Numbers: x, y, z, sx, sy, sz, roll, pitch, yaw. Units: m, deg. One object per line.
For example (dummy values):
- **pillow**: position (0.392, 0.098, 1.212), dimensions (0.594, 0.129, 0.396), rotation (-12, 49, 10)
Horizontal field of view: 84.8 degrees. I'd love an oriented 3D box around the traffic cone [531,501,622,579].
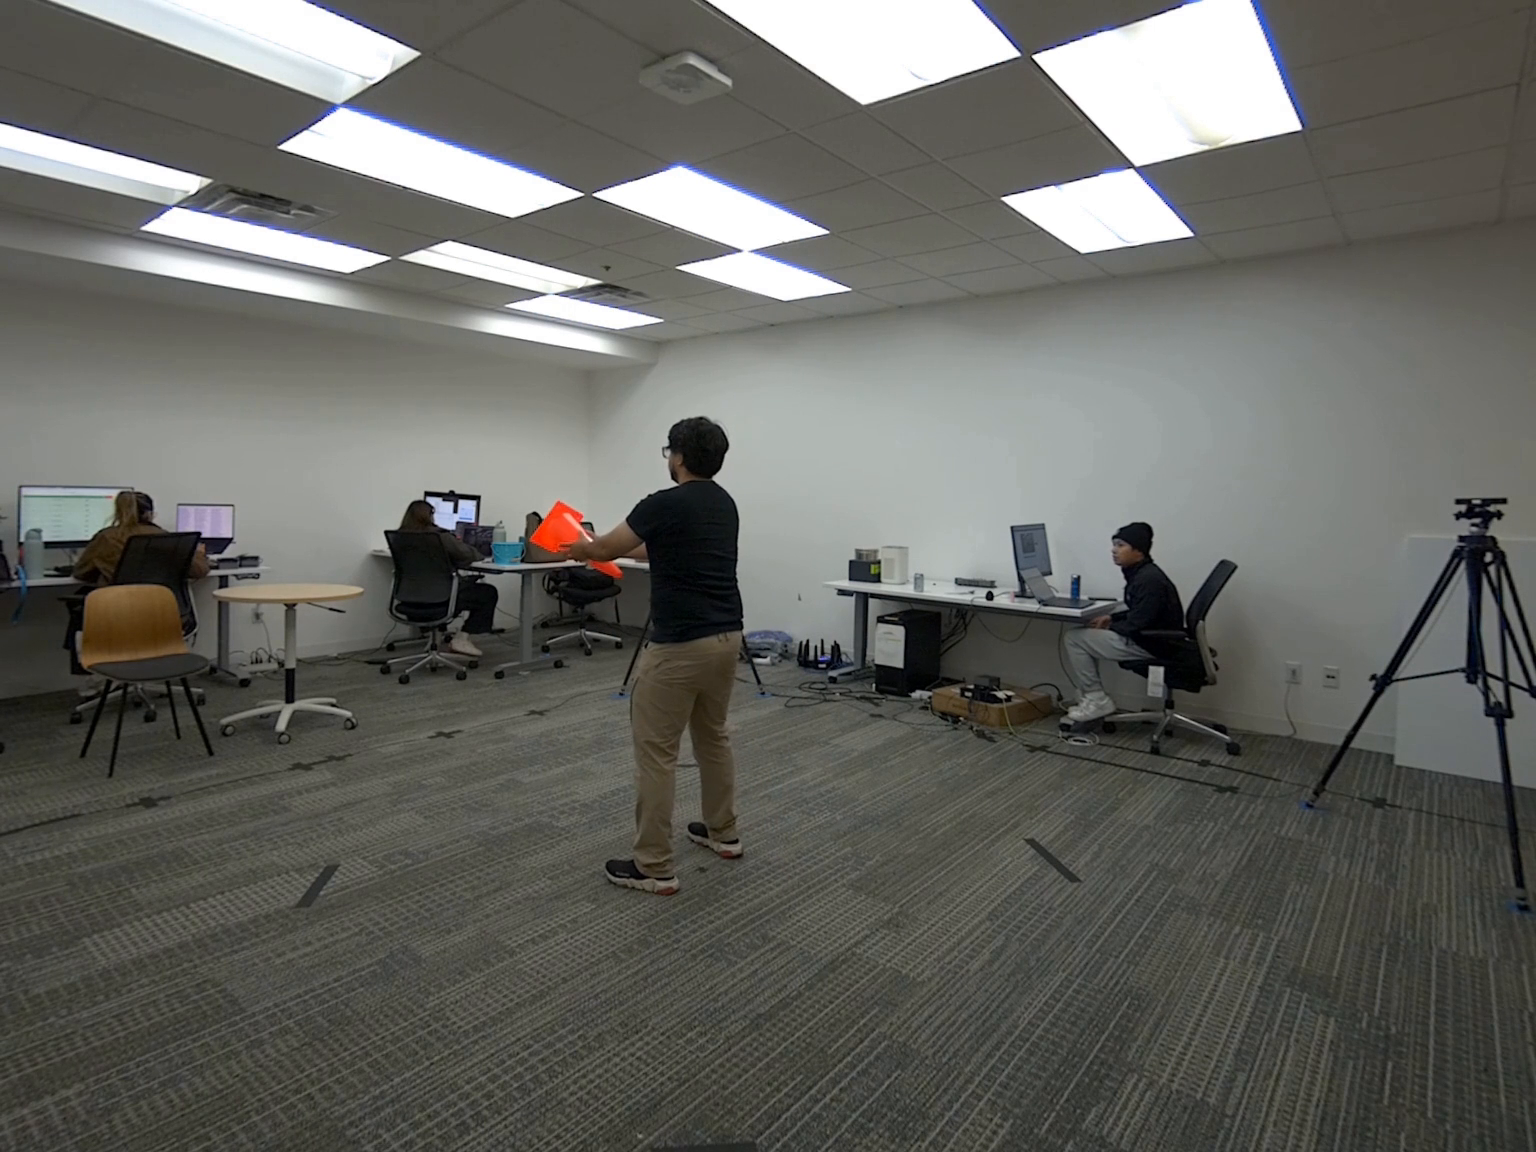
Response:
- **traffic cone**: position (-0.733, -0.100, 3.384), dimensions (0.398, 0.203, 0.197), rotation (35, -3, 28)
